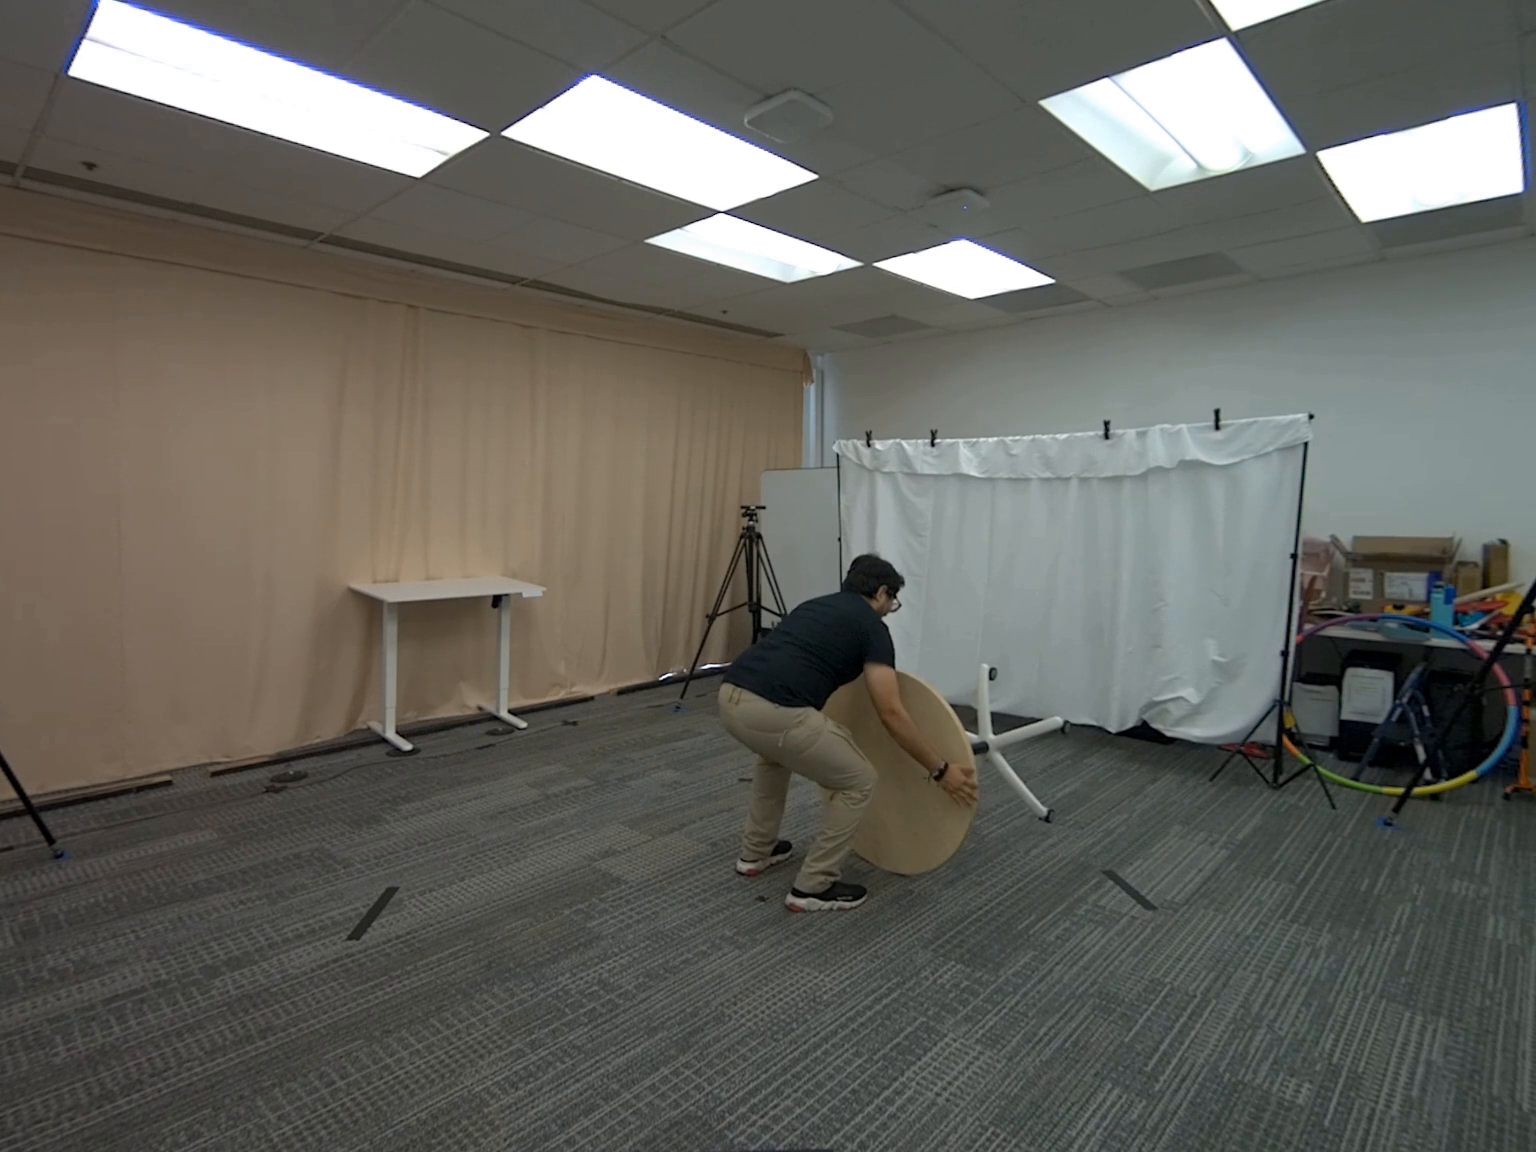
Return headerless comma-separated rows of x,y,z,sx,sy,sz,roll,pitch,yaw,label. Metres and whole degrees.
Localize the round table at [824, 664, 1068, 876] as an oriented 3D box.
0.755,0.735,3.468,0.761,0.784,0.811,1,2,-41,round table
